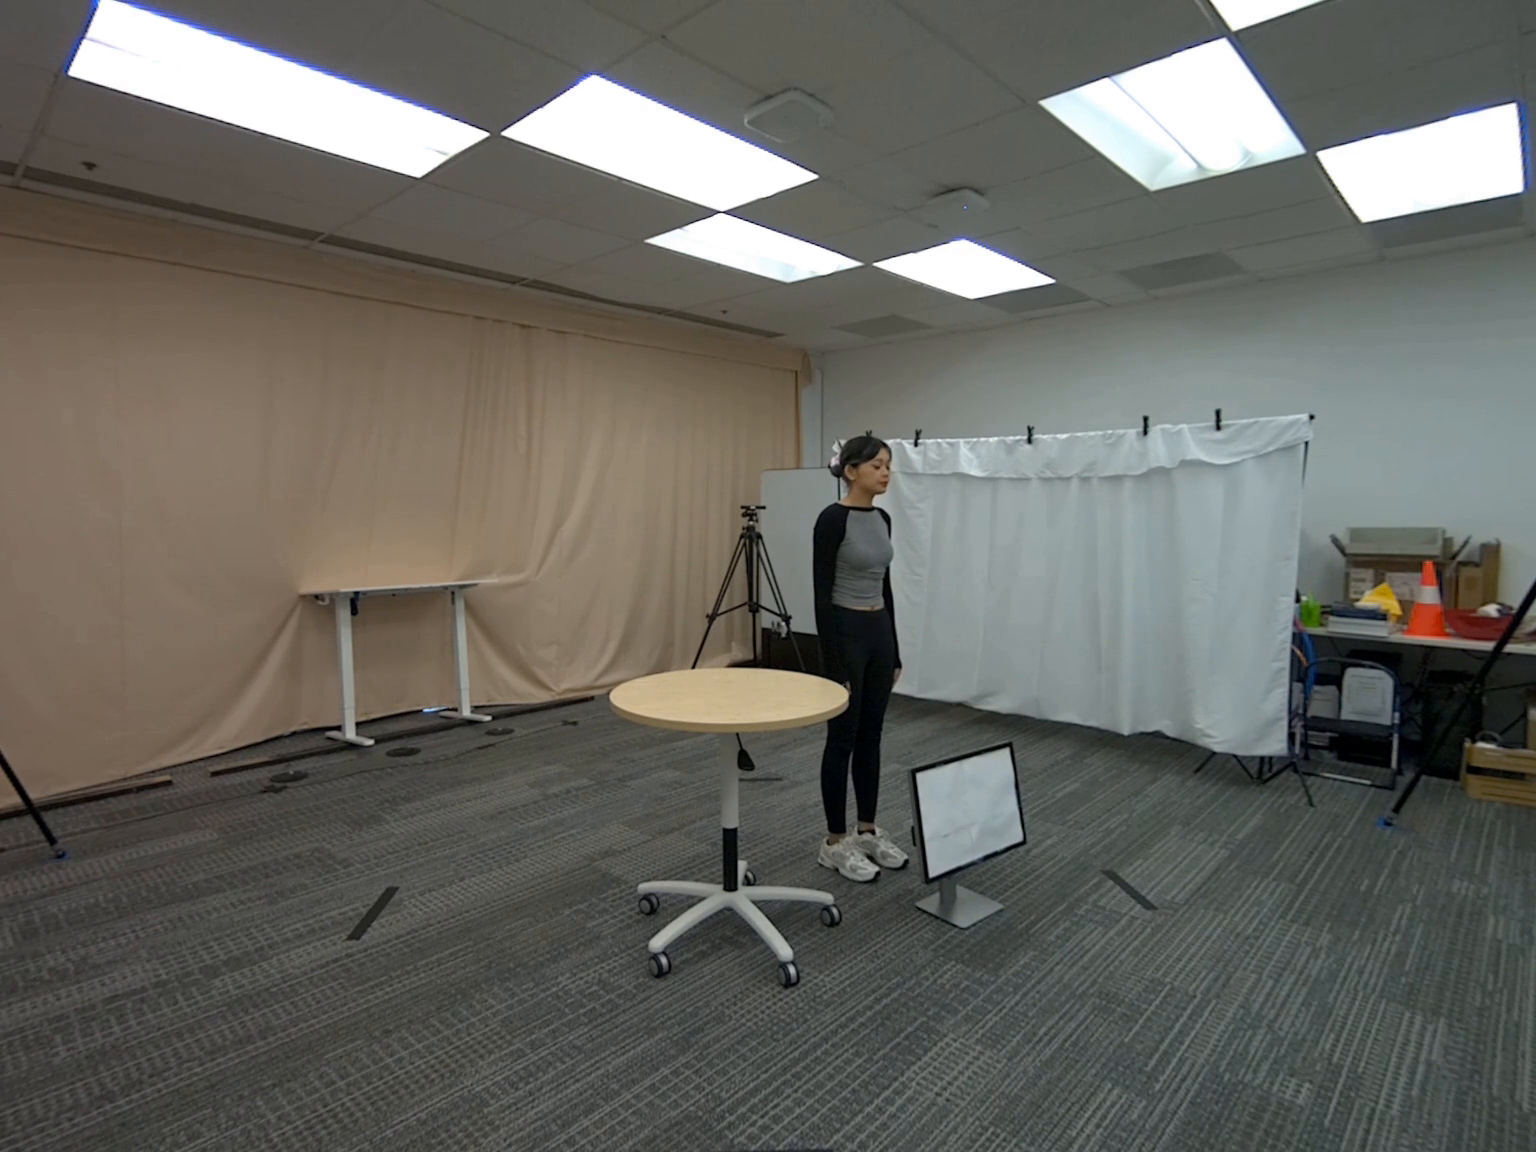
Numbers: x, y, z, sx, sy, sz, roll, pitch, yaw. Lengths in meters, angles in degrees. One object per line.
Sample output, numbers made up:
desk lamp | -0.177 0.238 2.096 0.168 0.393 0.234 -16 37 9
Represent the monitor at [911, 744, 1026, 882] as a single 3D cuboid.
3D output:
monitor | 0.673 0.886 2.894 0.522 0.521 0.193 -3 7 -41
